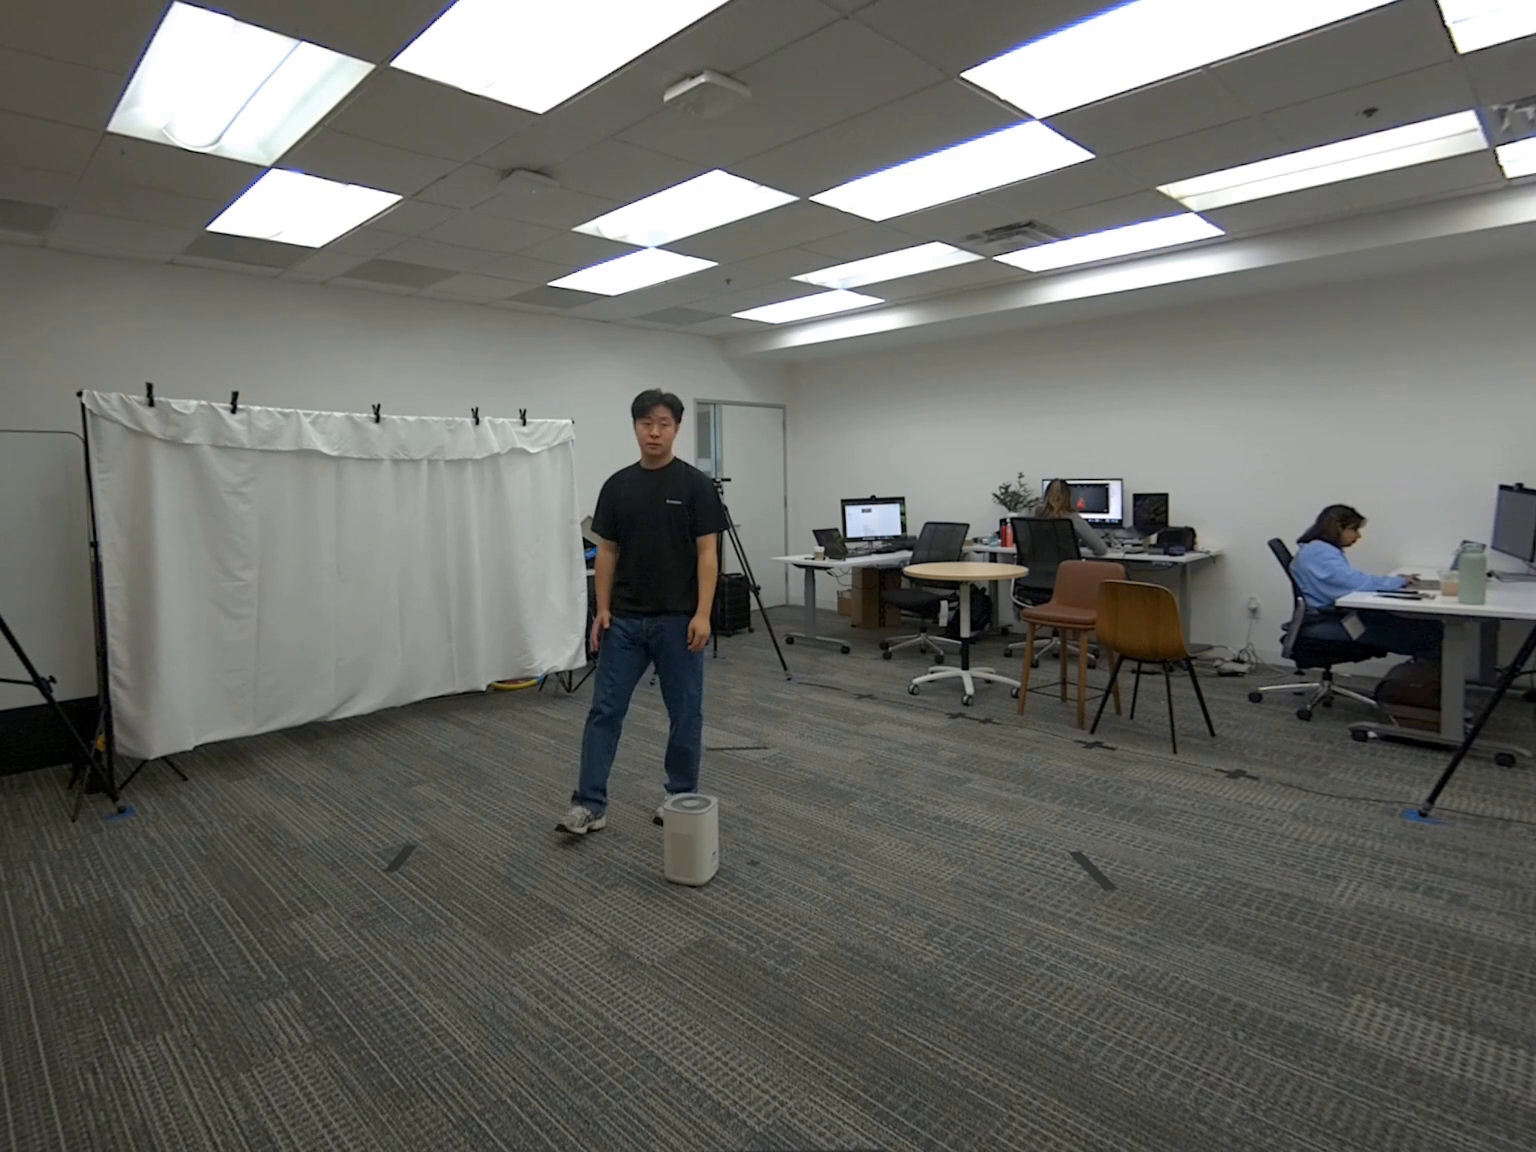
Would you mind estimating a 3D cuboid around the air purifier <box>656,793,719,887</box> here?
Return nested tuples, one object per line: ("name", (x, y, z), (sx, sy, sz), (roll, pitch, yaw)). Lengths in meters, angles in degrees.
("air purifier", (-0.265, 0.921, 2.999), (0.175, 0.264, 0.168), (0, 4, 19))
